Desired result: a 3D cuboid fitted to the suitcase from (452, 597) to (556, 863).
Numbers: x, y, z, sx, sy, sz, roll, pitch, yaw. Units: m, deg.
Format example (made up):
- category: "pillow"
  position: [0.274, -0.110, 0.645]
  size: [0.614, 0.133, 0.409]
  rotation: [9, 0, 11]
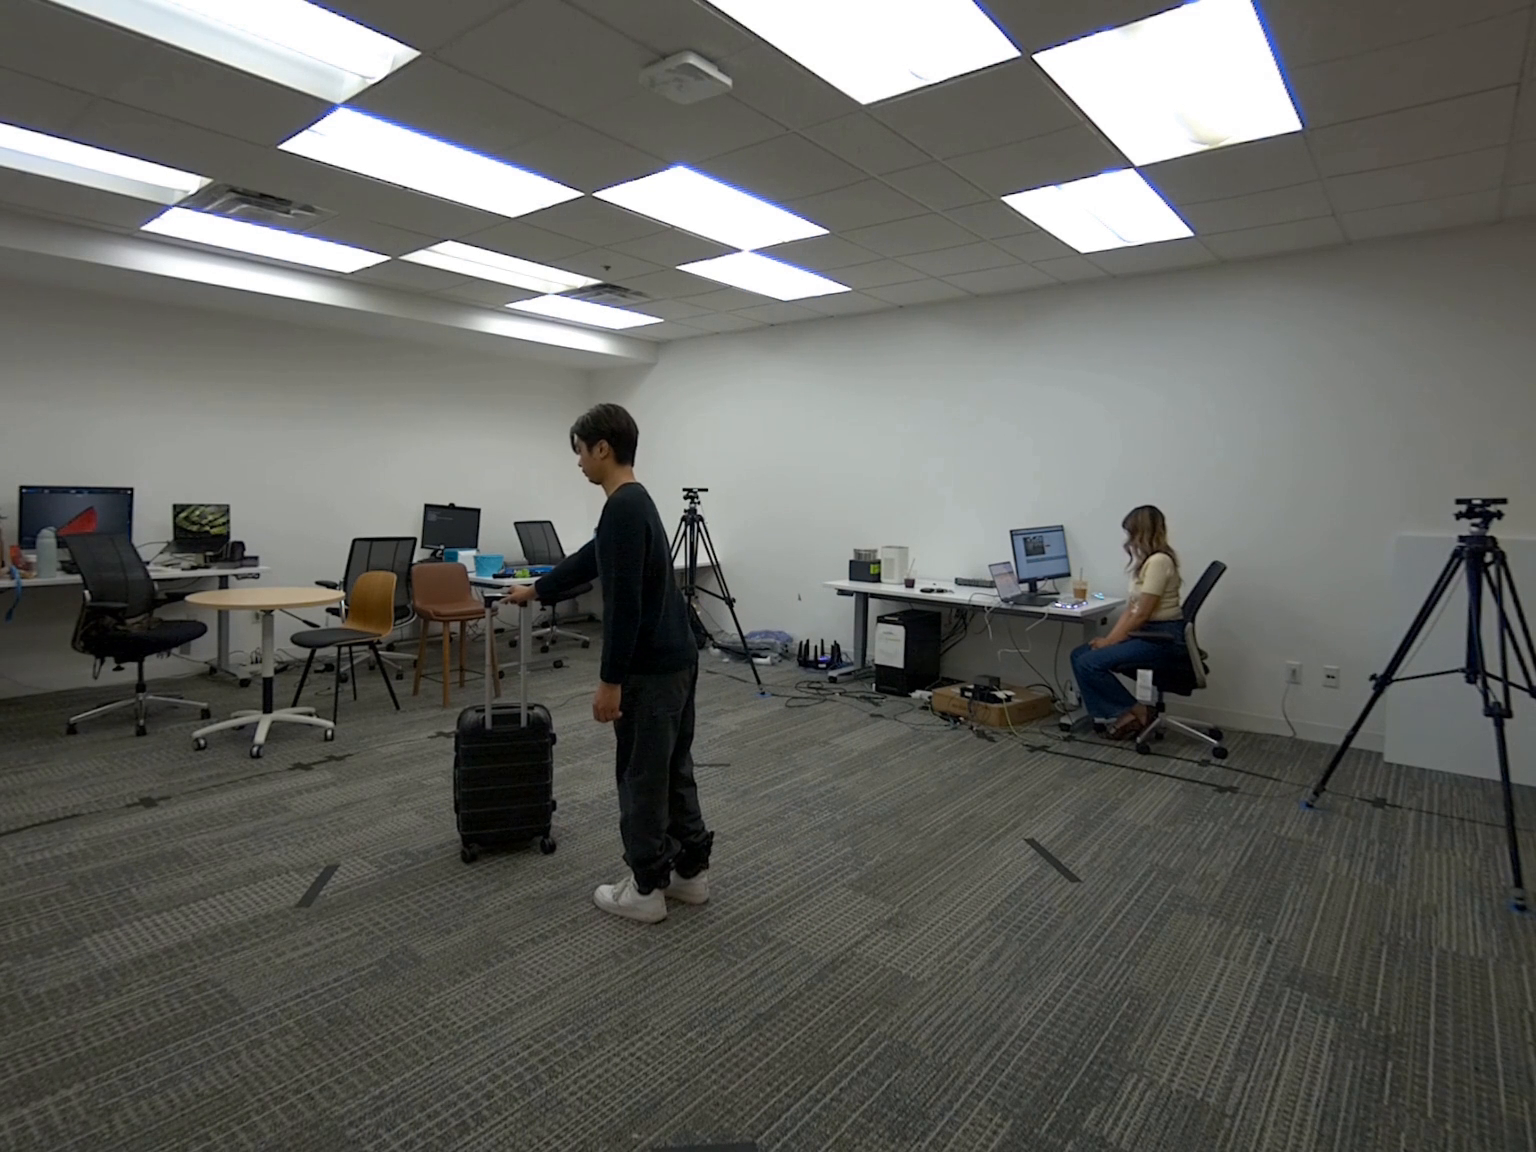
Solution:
- category: "suitcase"
  position: [-1.034, 0.564, 3.286]
  size: [0.377, 0.978, 0.262]
  rotation: [-1, 0, -18]
